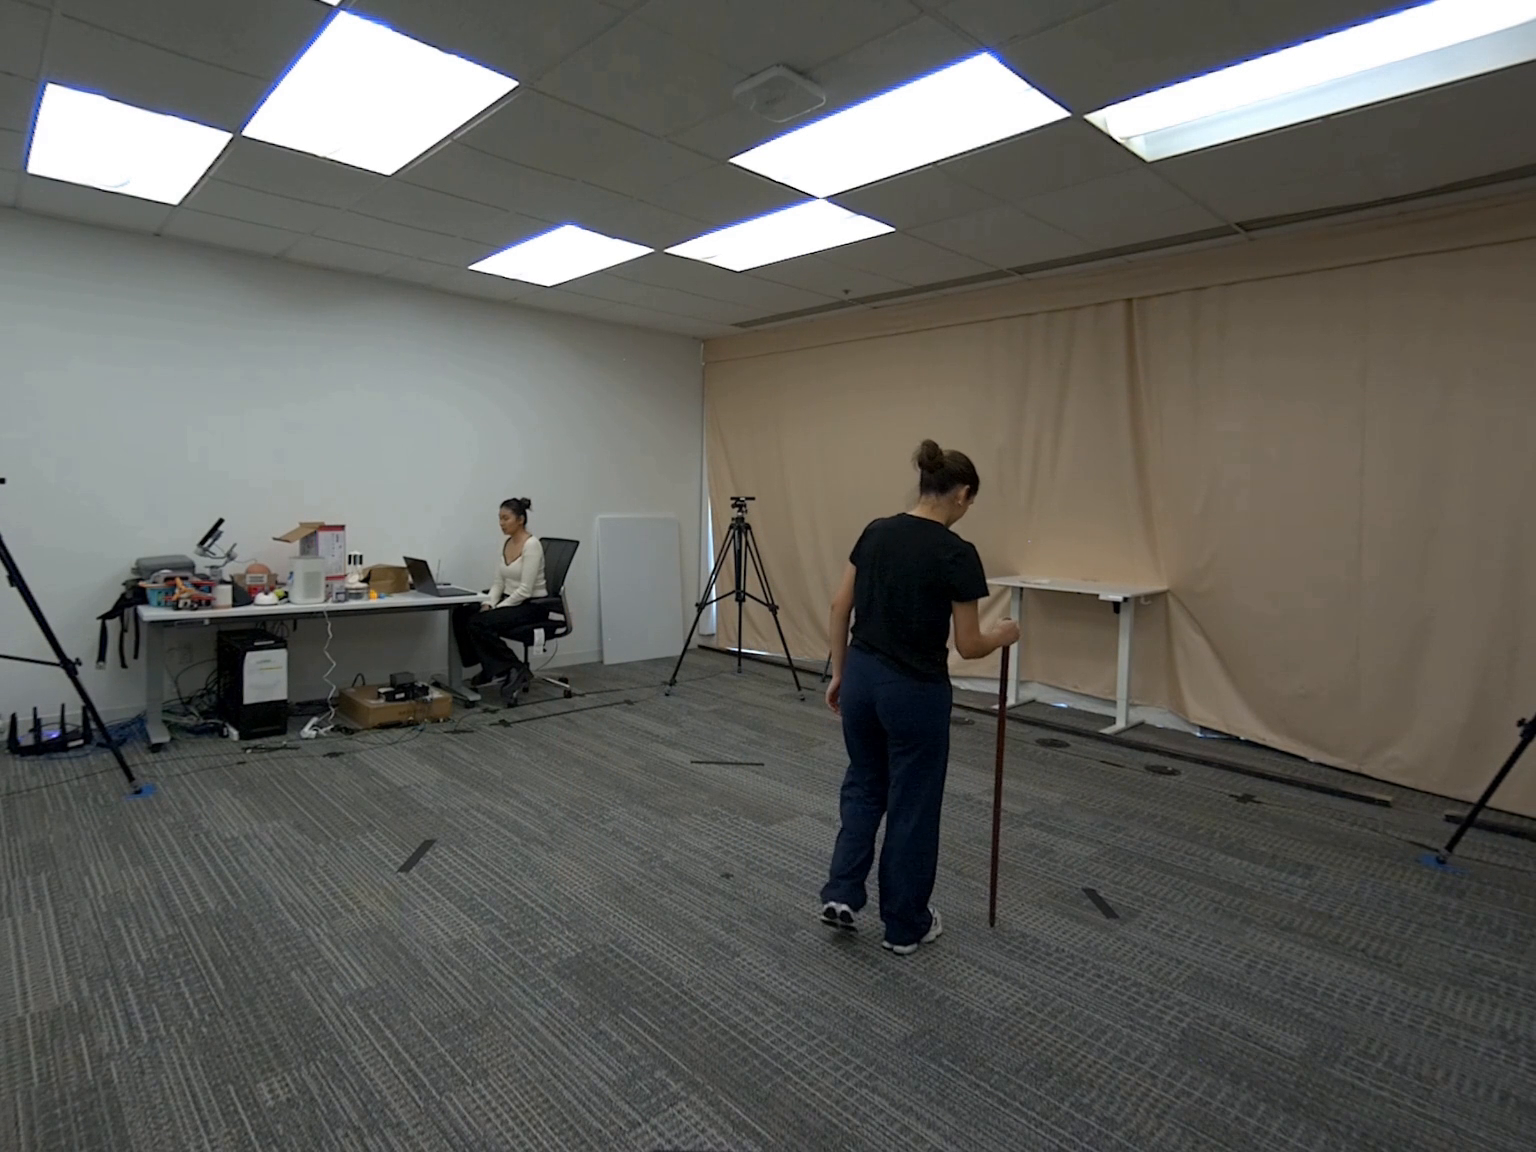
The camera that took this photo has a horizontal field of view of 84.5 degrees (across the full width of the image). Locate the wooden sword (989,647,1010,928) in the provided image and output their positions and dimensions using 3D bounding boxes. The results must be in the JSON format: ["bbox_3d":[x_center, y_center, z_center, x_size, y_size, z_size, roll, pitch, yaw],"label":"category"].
[{"bbox_3d":[0.741,0.662,2.718,0.024,1.019,0.052,1,7,-5],"label":"wooden sword"}]
